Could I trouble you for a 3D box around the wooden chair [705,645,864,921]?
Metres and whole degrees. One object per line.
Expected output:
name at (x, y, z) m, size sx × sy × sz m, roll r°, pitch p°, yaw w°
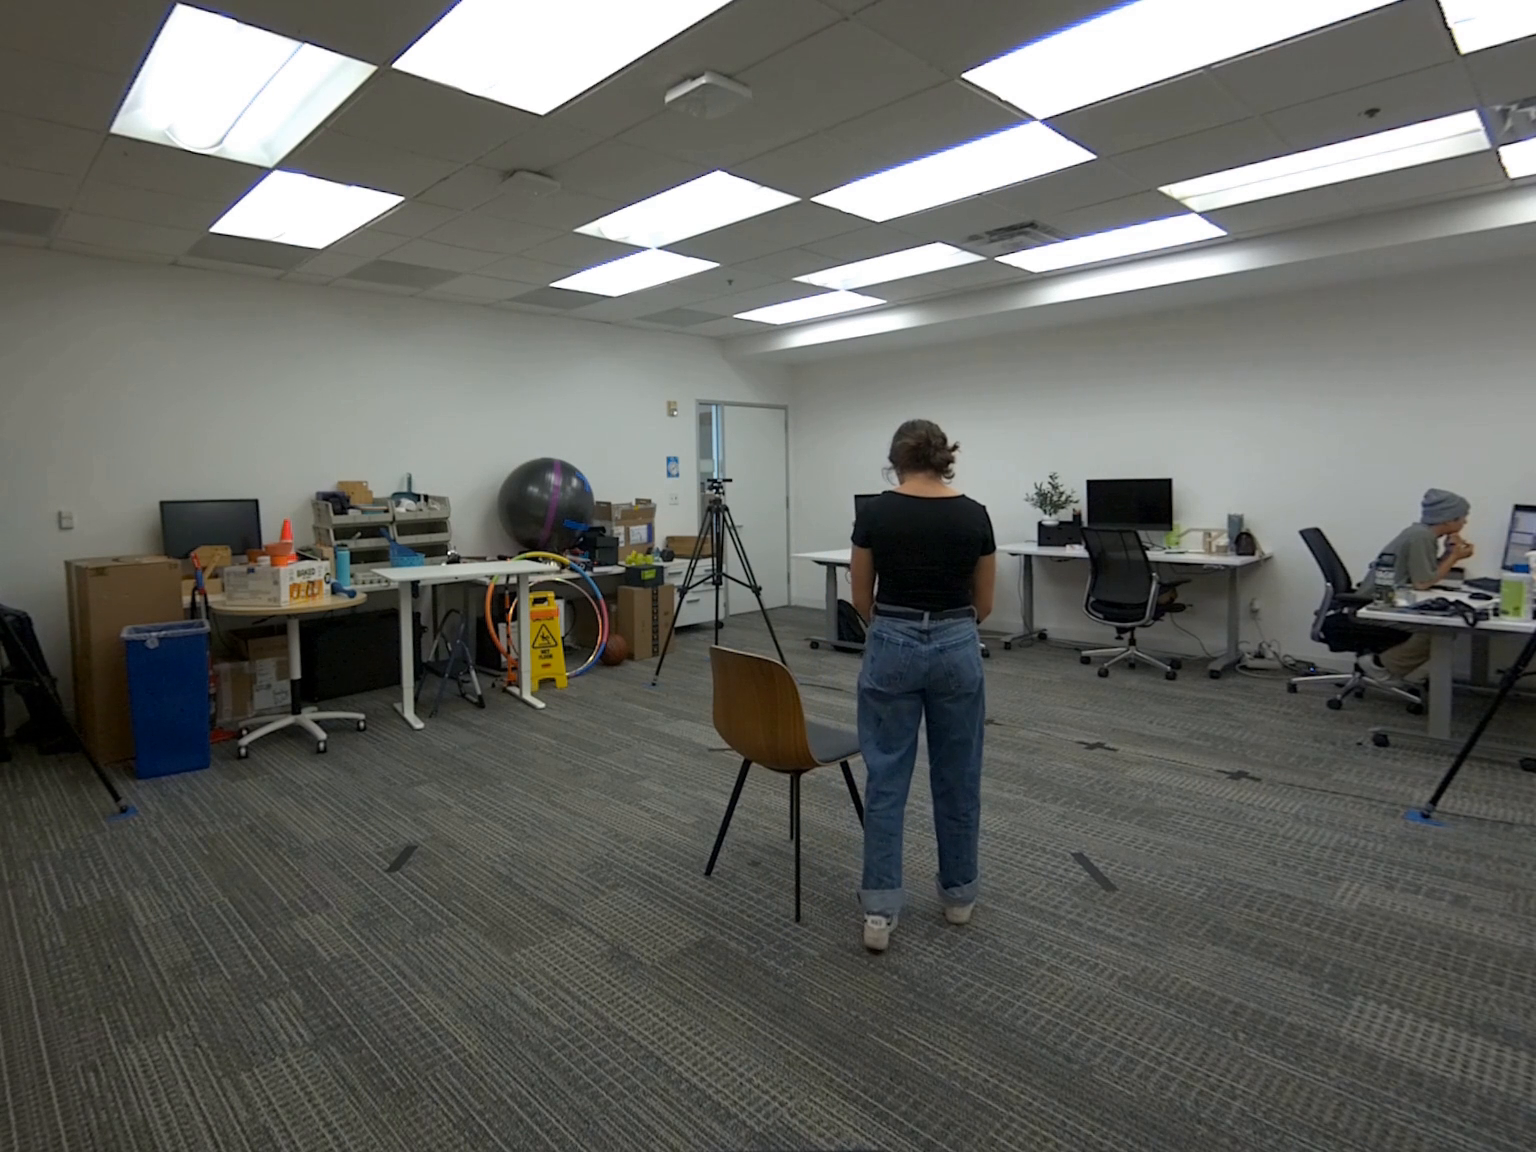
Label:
wooden chair at (0.092, 0.630, 2.977) m, size 0.511 × 0.871 × 0.493 m, roll -11°, pitch 10°, yaw -43°
